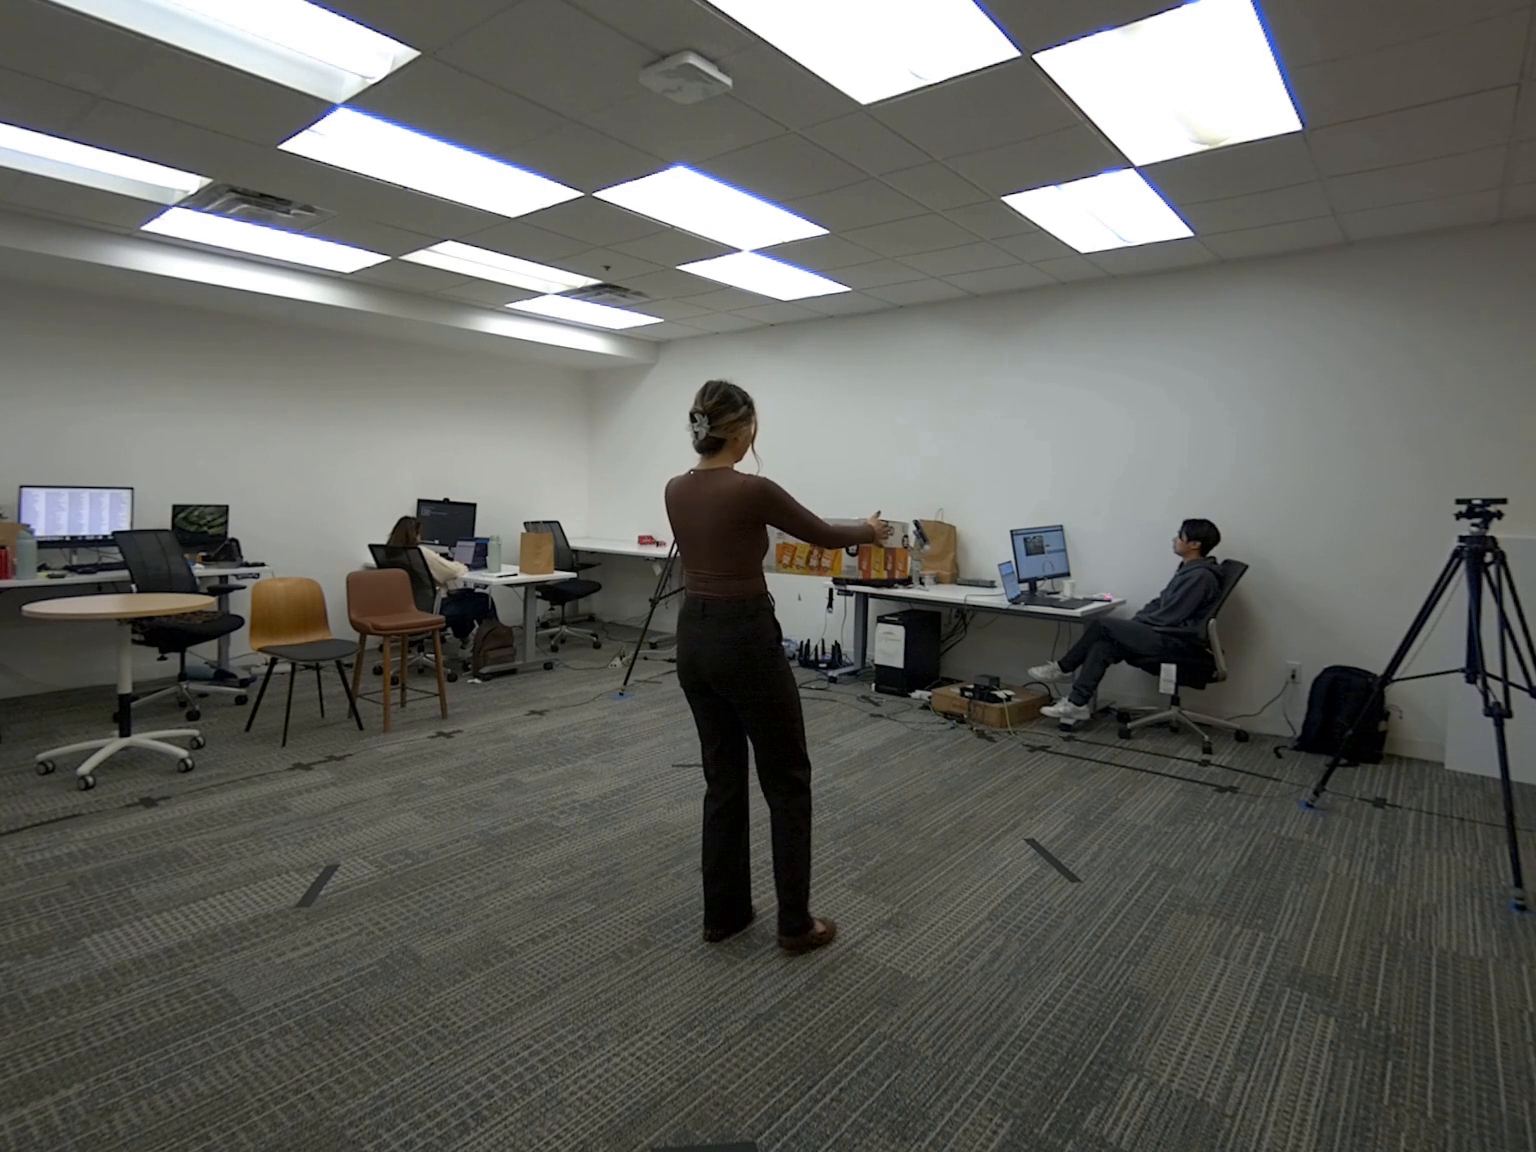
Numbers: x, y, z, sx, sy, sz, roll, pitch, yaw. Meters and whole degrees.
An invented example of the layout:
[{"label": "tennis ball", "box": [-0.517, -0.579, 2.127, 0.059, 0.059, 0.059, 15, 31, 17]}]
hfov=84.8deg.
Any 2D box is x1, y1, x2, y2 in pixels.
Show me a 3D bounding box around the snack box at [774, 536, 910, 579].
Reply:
[{"label": "snack box", "box": [0.228, -0.102, 3.059, 0.418, 0.205, 0.329, 4, 2, 39]}]
